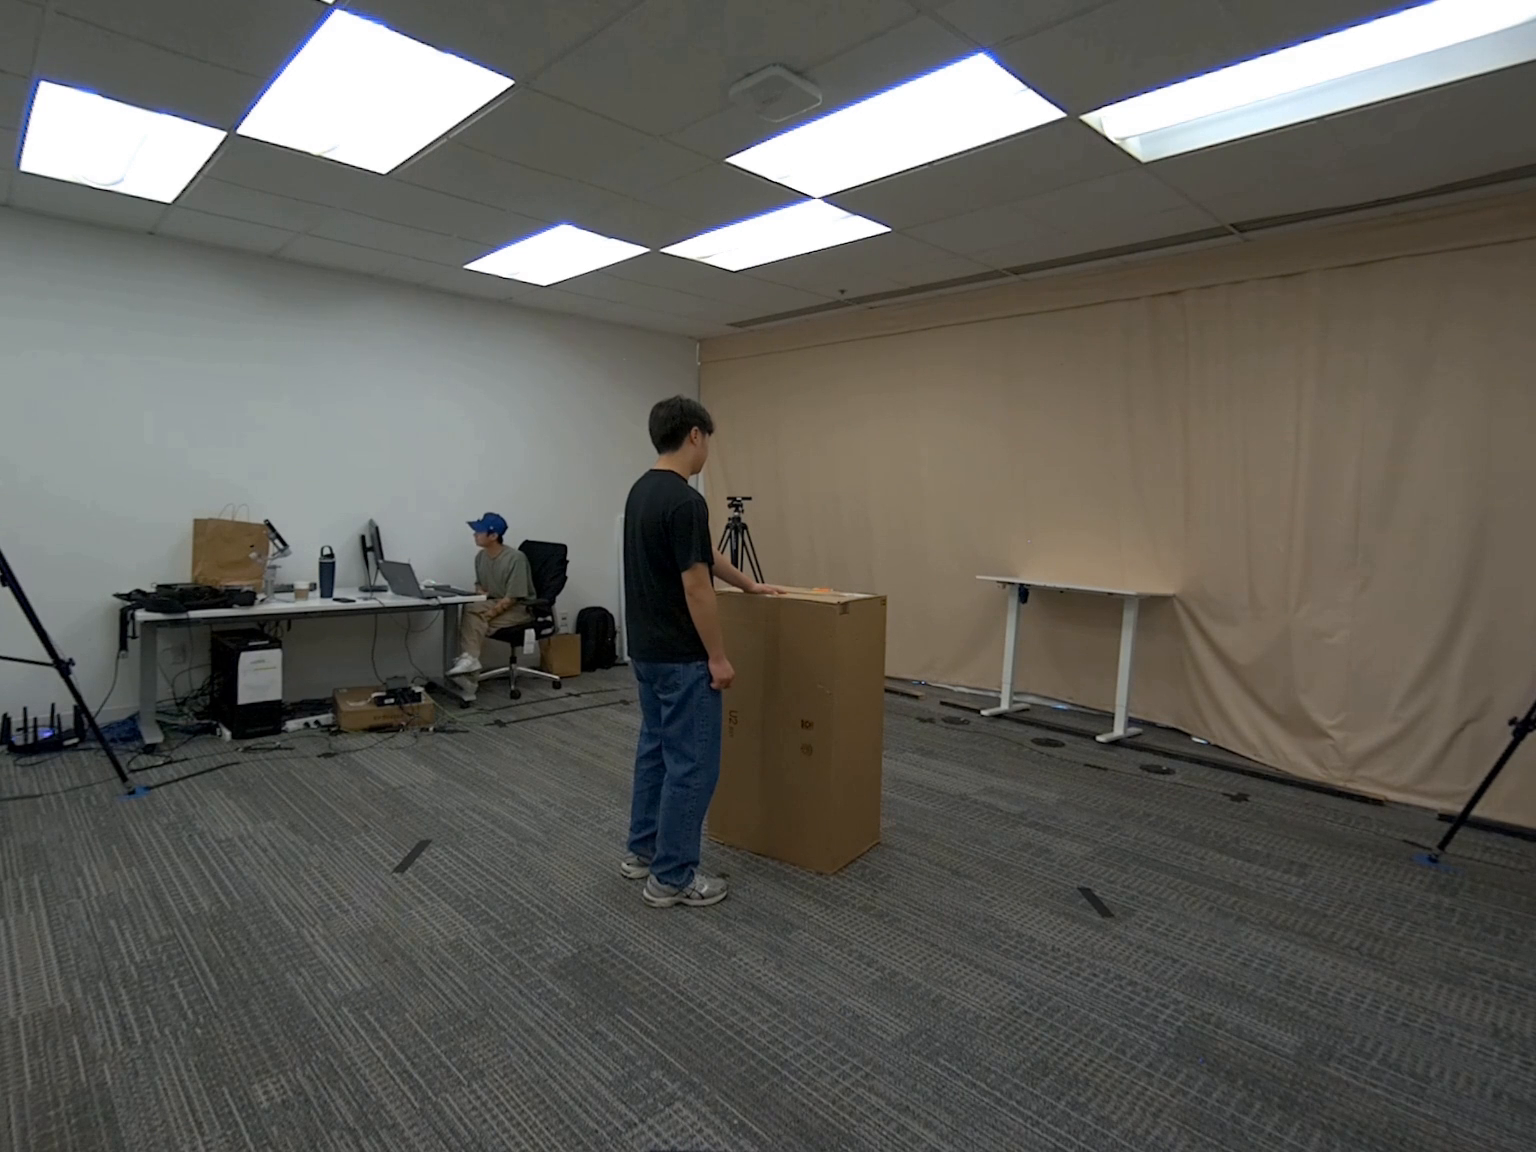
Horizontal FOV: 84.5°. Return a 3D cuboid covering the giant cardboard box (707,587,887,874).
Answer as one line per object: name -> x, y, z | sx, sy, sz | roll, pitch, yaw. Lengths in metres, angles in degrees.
giant cardboard box -> 0.119, 0.573, 3.431 | 0.598, 1.025, 0.437 | 3, 3, 36
